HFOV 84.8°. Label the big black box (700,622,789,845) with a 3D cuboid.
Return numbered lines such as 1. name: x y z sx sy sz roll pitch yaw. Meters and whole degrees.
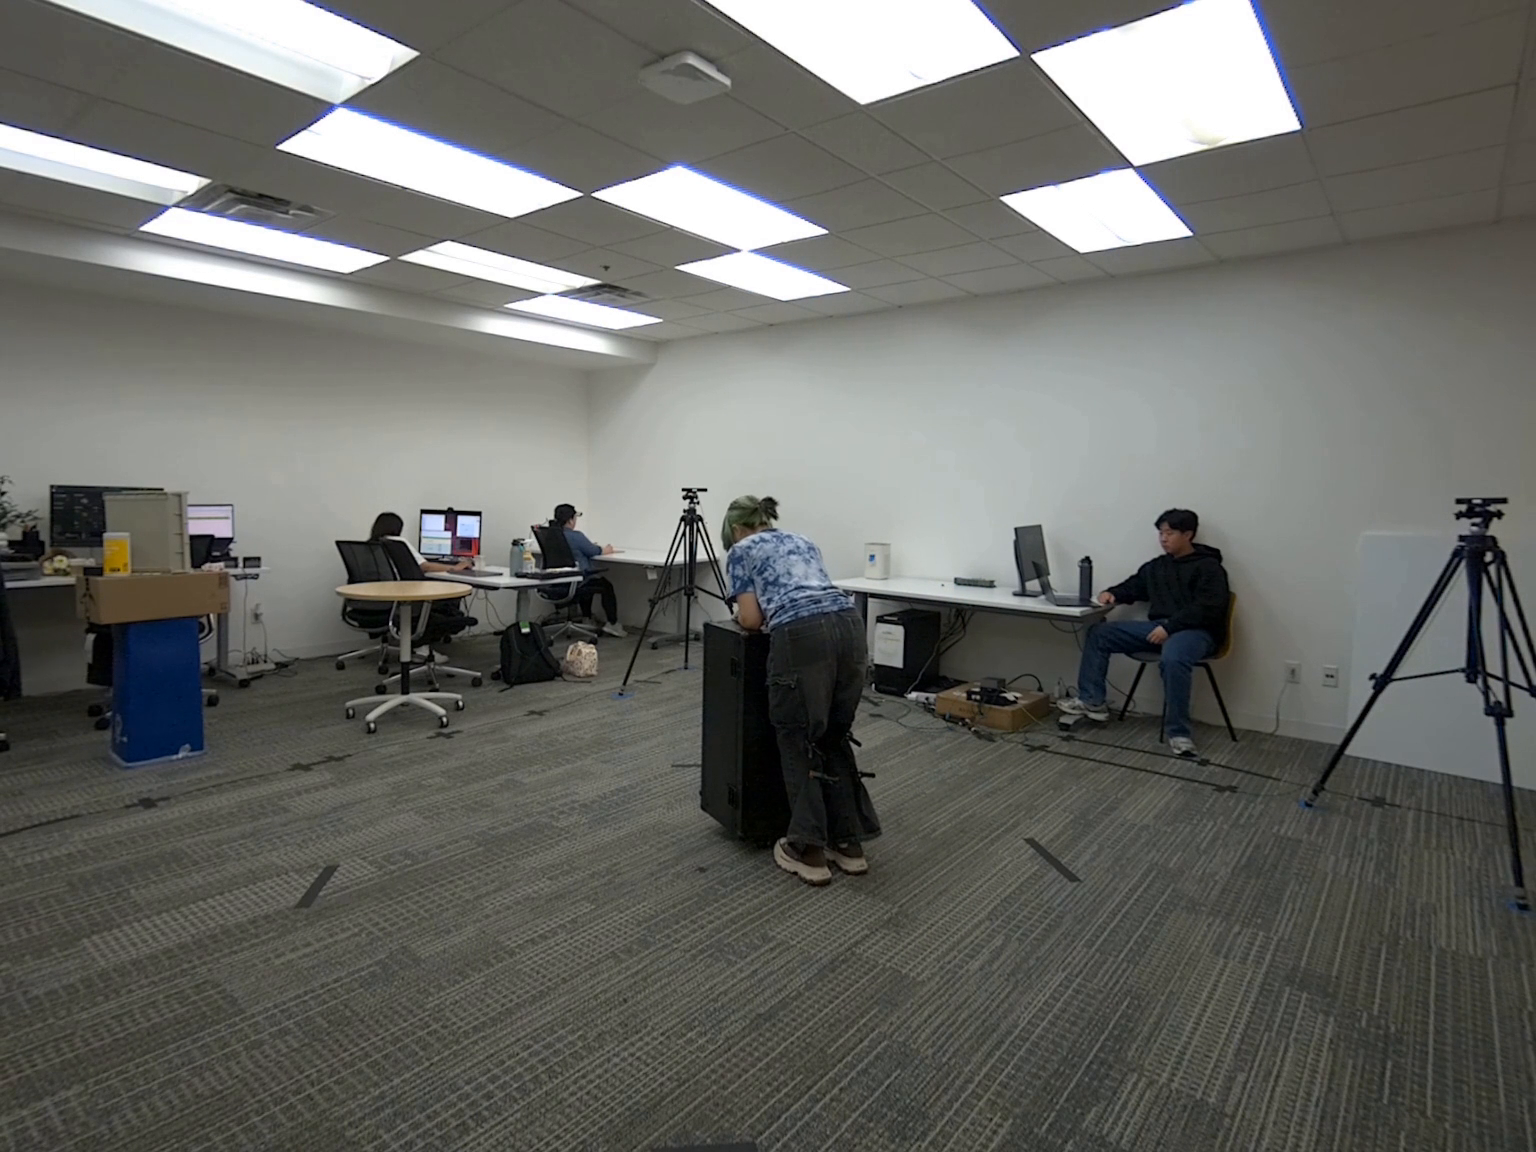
1. big black box: 0.007 0.553 3.463 0.508 0.859 0.407 -2 3 -28
